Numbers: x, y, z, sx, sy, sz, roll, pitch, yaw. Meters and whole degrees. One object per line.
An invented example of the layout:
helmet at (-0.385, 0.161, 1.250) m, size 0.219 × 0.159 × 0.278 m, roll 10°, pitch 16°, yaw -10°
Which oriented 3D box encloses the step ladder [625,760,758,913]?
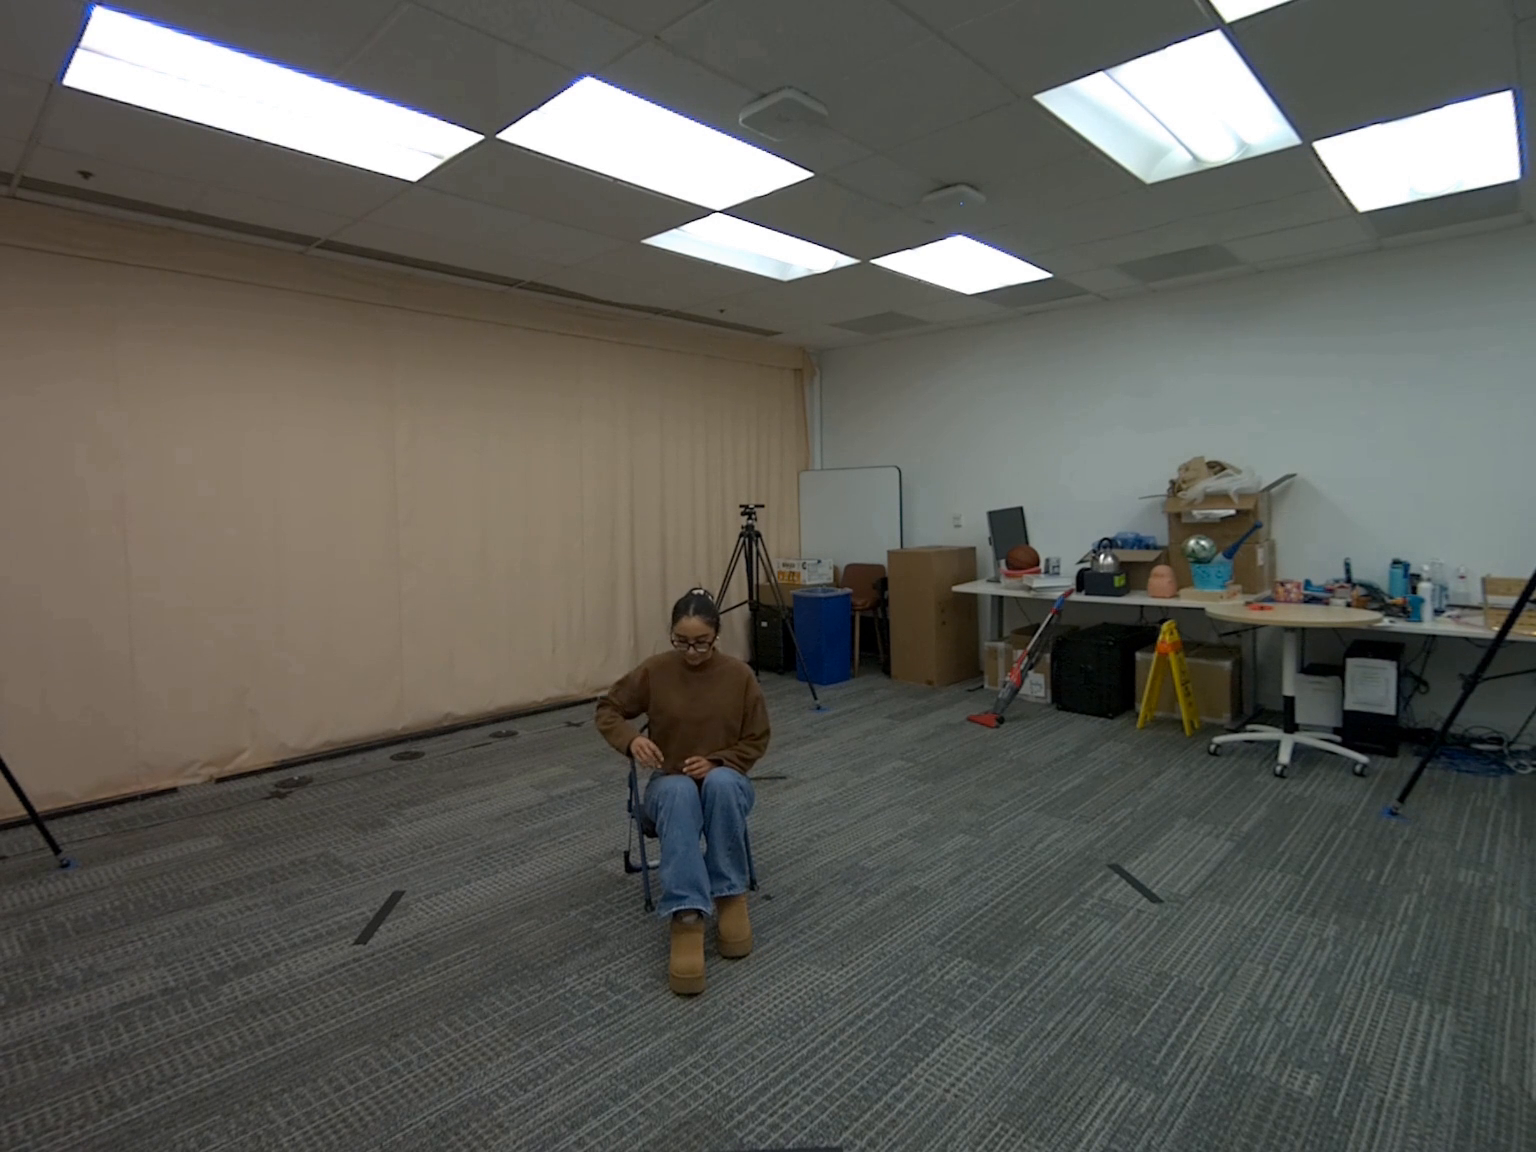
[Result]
step ladder at (-0.297, 0.838, 3.119) m, size 0.421 × 0.605 × 0.358 m, roll -2°, pitch 4°, yaw -23°
